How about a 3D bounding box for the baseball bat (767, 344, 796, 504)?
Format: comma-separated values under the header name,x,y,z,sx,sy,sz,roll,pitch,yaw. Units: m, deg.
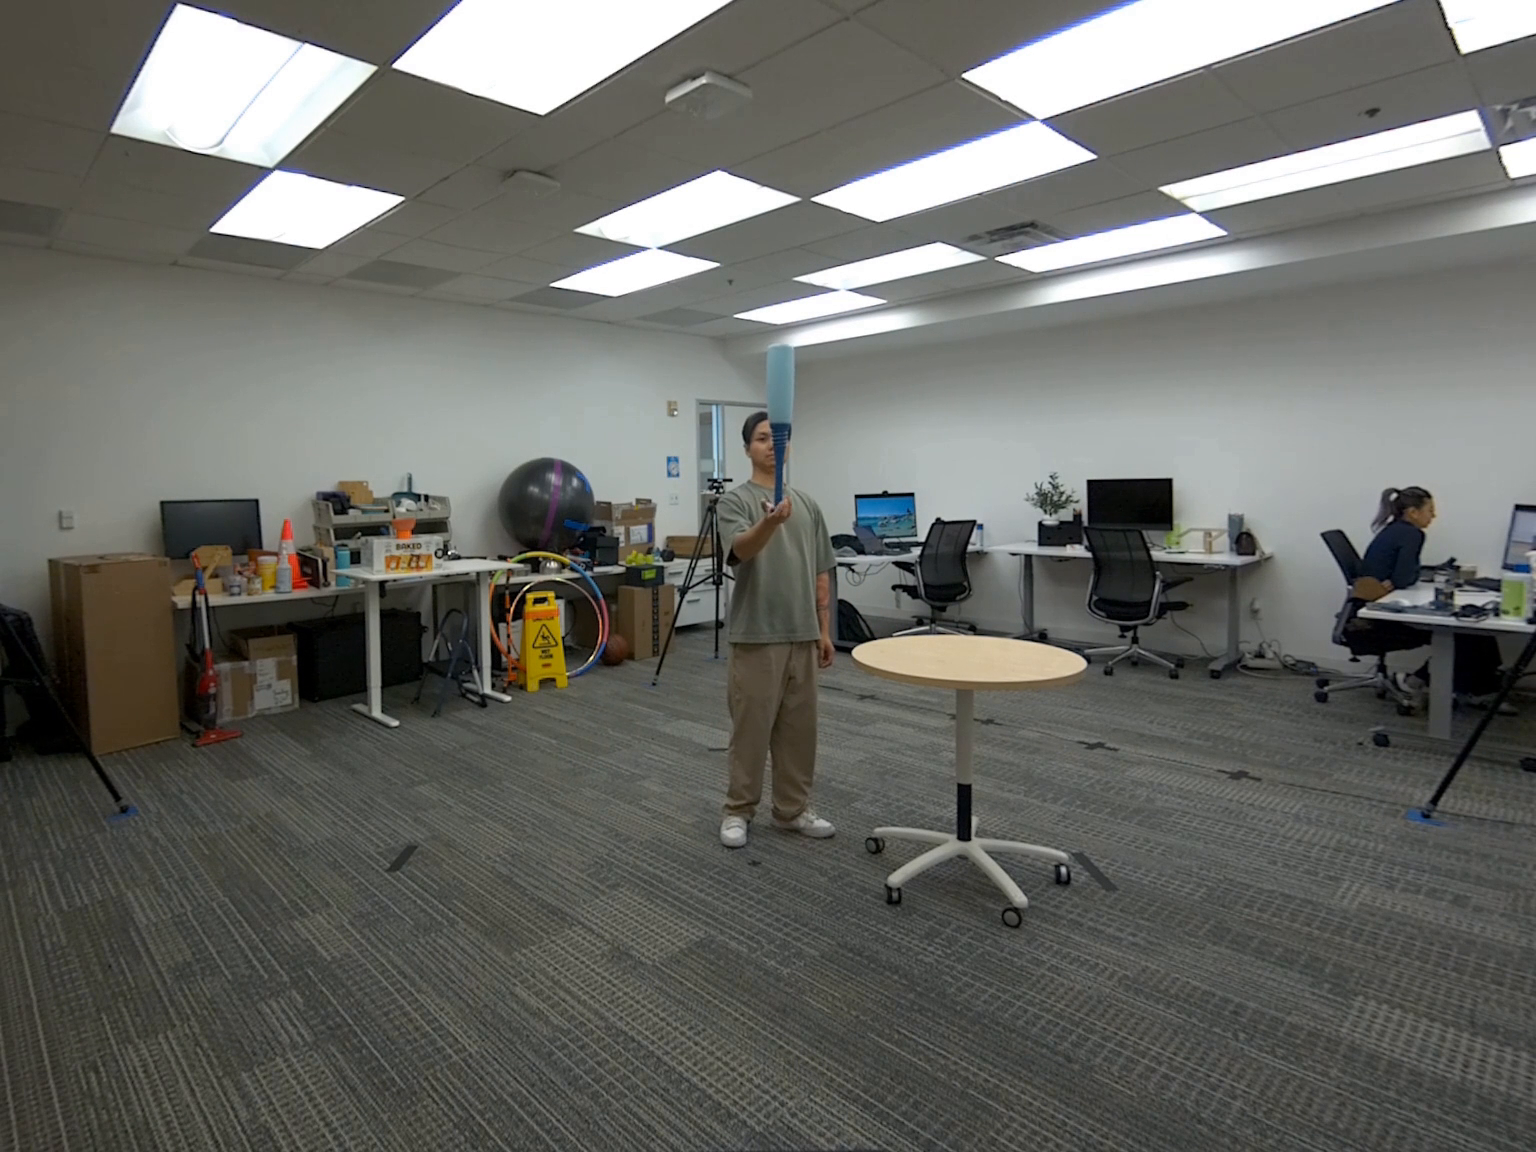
name,x,y,z,sx,sy,sz,roll,pitch,yaw
baseball bat,0.043,-0.471,2.735,0.089,0.541,0.089,0,3,-2
